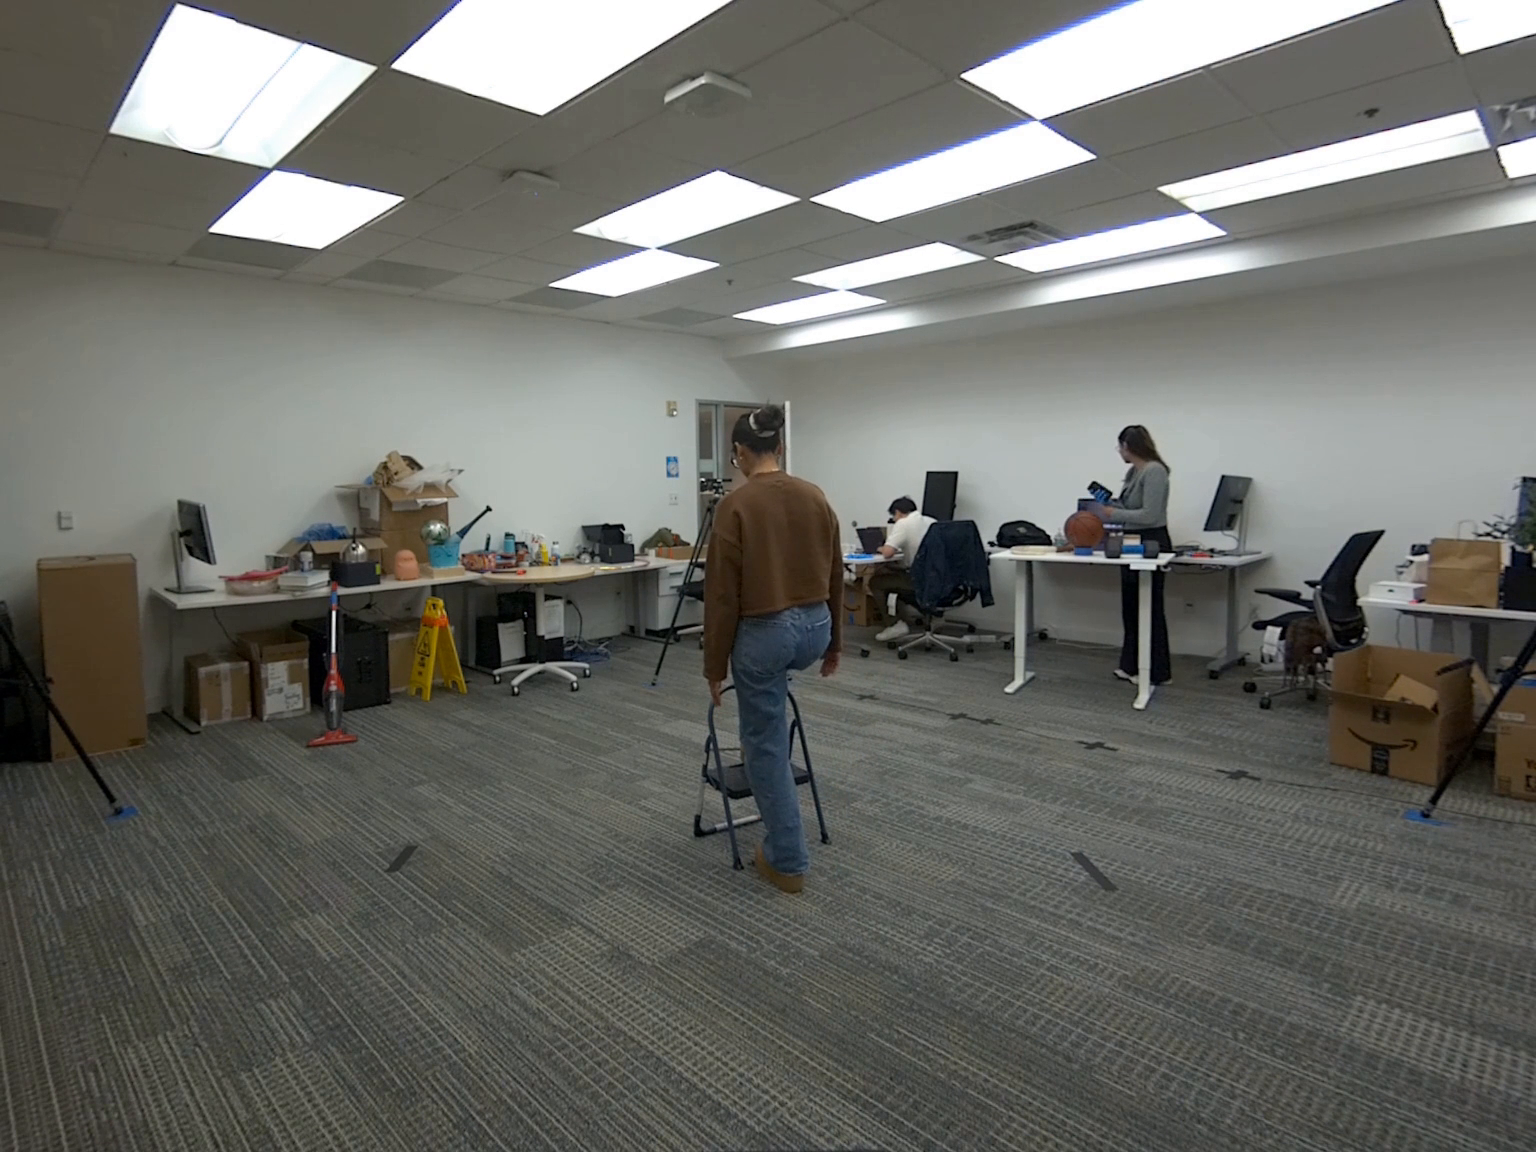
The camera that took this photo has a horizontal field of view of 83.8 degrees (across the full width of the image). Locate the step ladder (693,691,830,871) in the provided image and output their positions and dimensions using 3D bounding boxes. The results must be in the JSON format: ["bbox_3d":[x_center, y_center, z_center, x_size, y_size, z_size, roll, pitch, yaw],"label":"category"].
[{"bbox_3d":[-0.030,0.720,3.292,0.420,0.604,0.359,-4,4,-33],"label":"step ladder"}]
